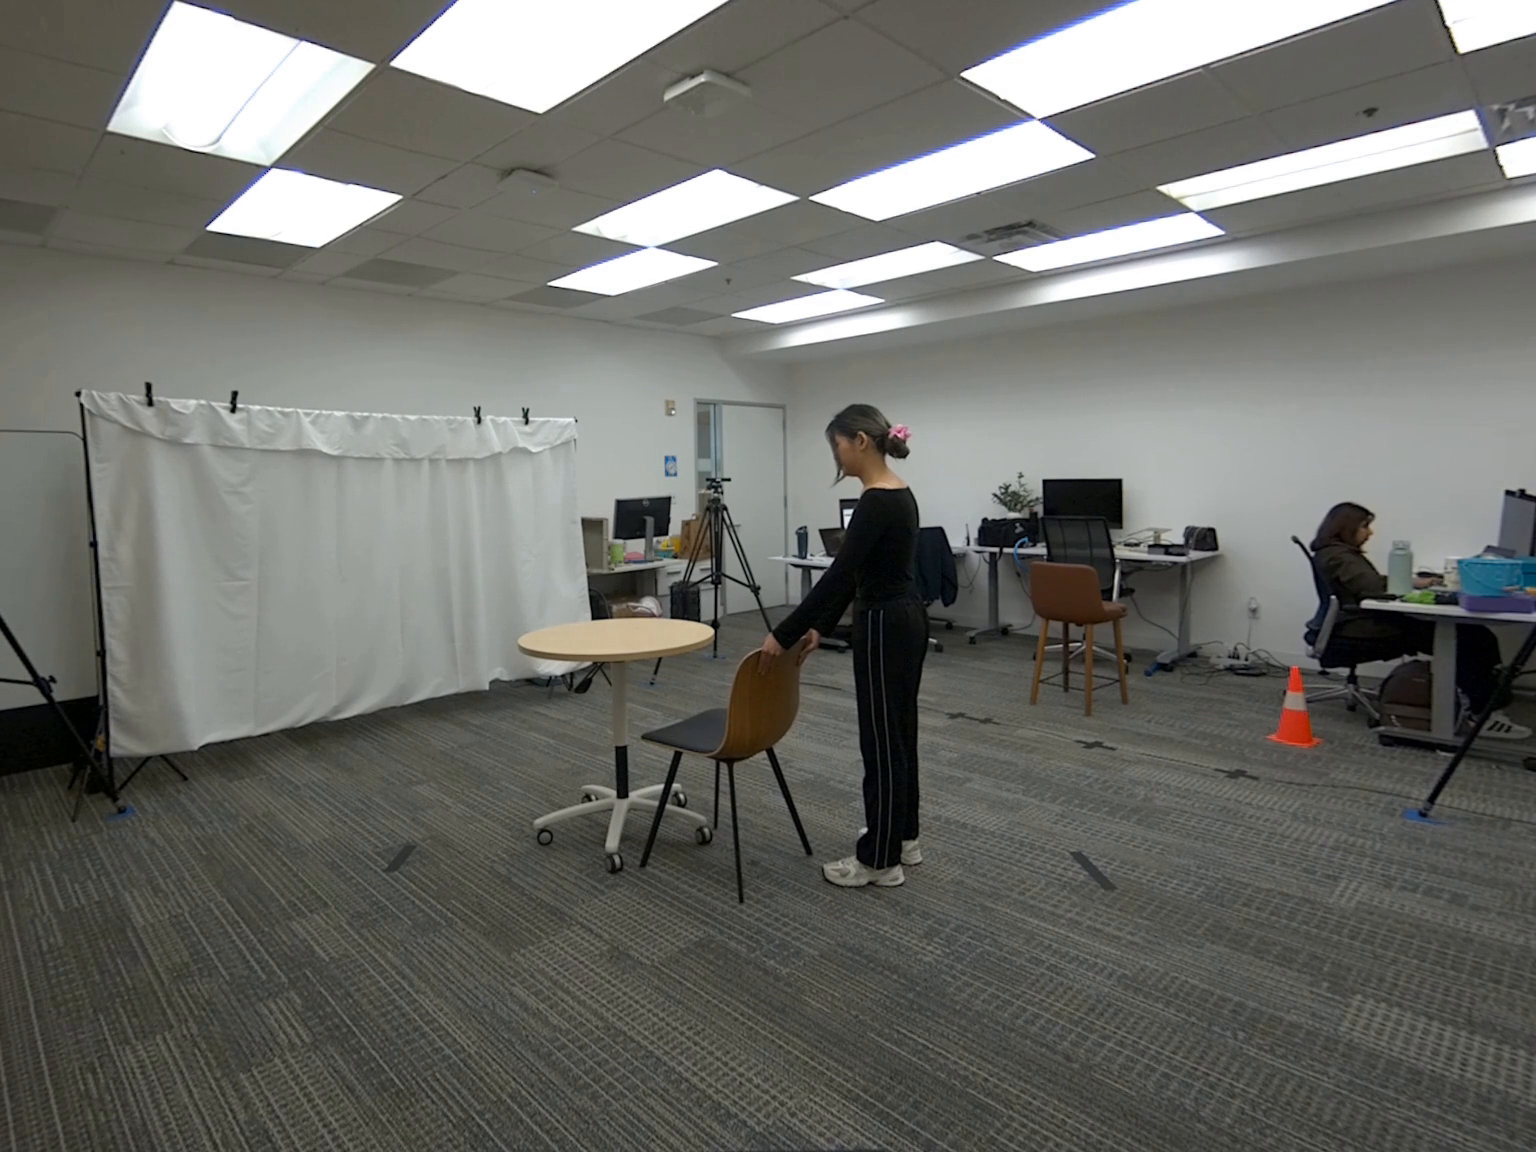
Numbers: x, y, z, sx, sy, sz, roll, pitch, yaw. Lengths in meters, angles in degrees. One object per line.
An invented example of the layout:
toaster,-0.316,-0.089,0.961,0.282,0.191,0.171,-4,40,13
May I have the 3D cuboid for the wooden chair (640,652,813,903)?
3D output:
wooden chair,-0.154,0.616,3.085,0.539,0.872,0.466,8,9,35
